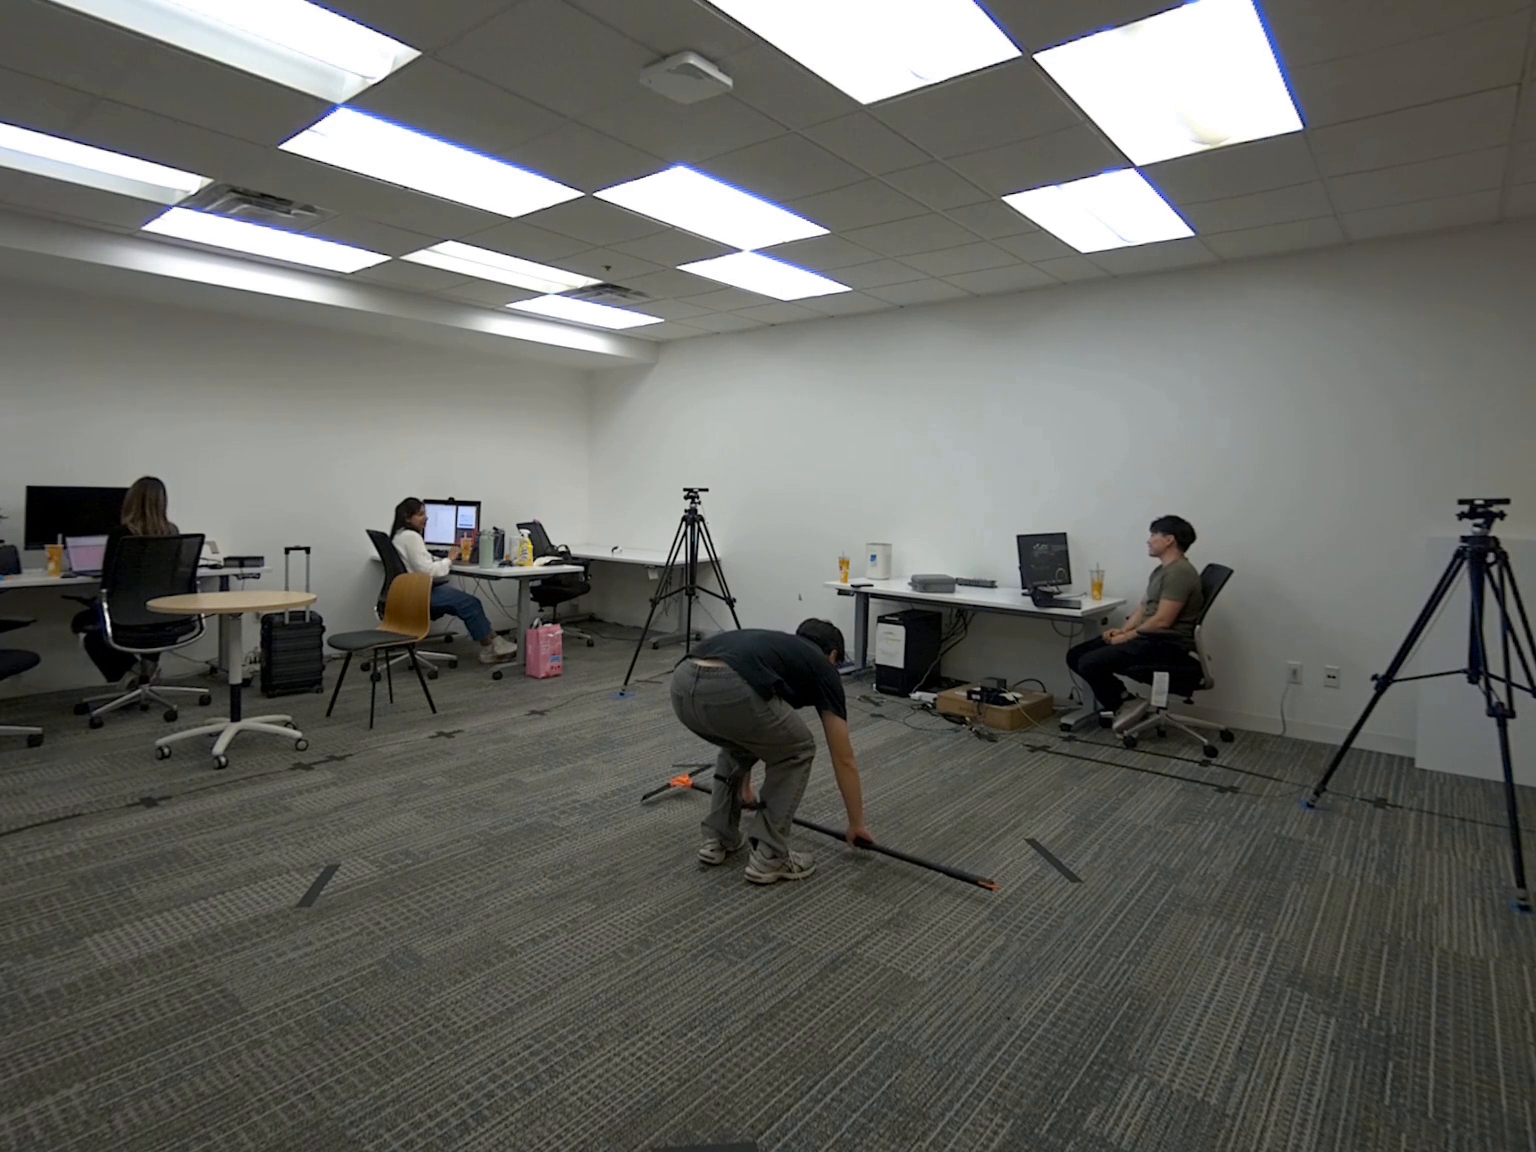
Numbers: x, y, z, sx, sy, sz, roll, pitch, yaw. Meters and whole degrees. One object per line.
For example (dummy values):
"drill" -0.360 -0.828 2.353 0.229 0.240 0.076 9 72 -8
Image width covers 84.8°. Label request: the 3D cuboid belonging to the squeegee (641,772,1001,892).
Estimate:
"squeegee" 0.162 0.987 3.389 1.590 0.052 0.427 6 14 39
